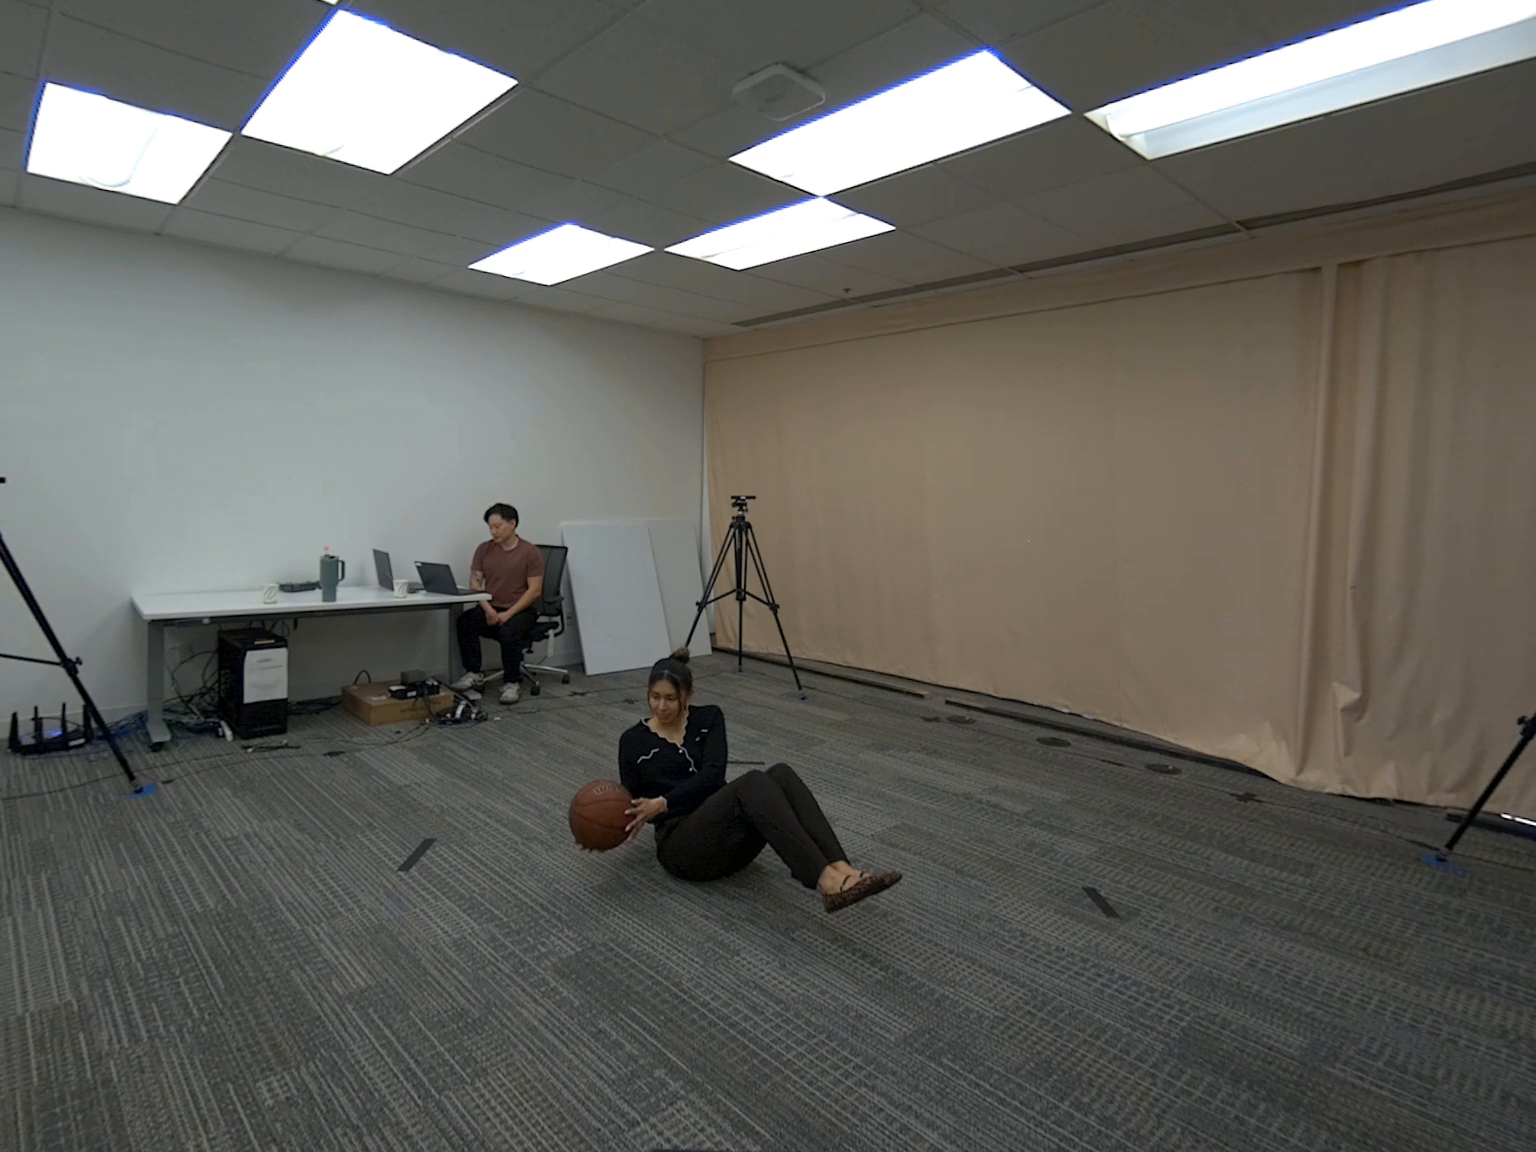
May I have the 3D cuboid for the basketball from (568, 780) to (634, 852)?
[{"bbox_3d":[-0.589,0.825,2.935,0.236,0.235,0.237,1,4,-1],"label":"basketball"}]
